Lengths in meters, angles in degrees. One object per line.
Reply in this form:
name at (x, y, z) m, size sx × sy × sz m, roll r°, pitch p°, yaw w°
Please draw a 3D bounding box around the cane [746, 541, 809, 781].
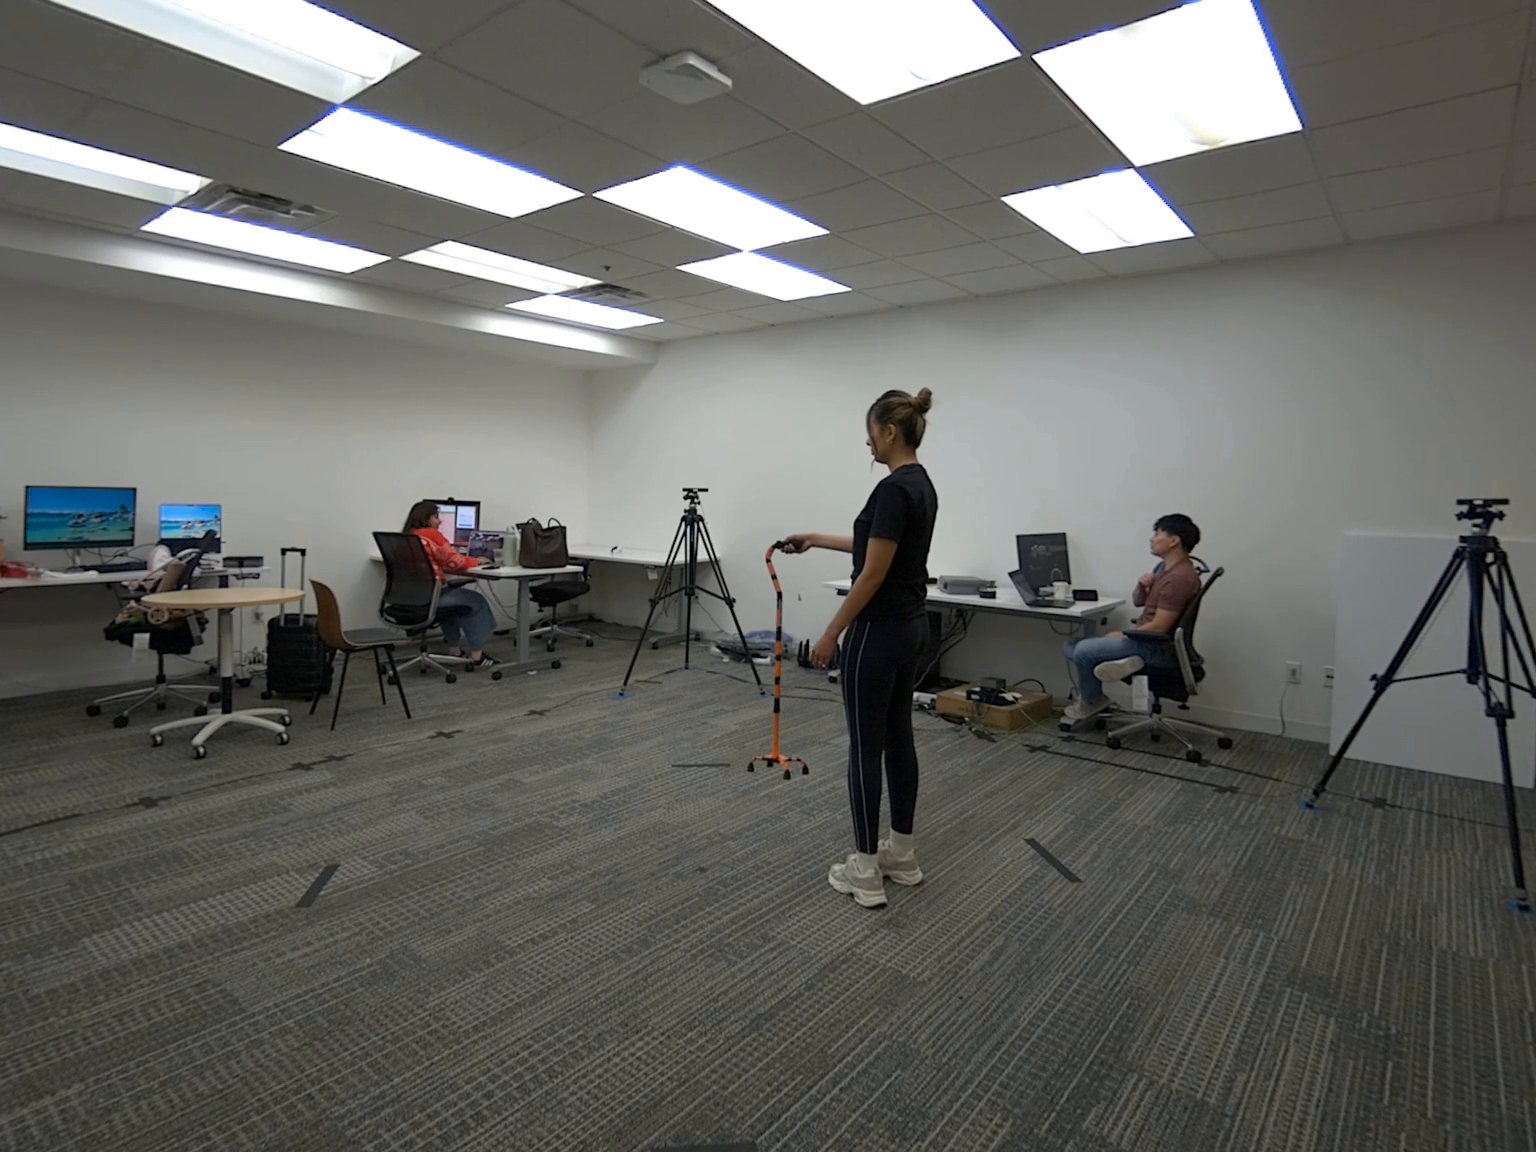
cane at (0.039, 0.323, 3.366) m, size 0.212 × 0.910 × 0.147 m, roll -1°, pitch -3°, yaw 34°
